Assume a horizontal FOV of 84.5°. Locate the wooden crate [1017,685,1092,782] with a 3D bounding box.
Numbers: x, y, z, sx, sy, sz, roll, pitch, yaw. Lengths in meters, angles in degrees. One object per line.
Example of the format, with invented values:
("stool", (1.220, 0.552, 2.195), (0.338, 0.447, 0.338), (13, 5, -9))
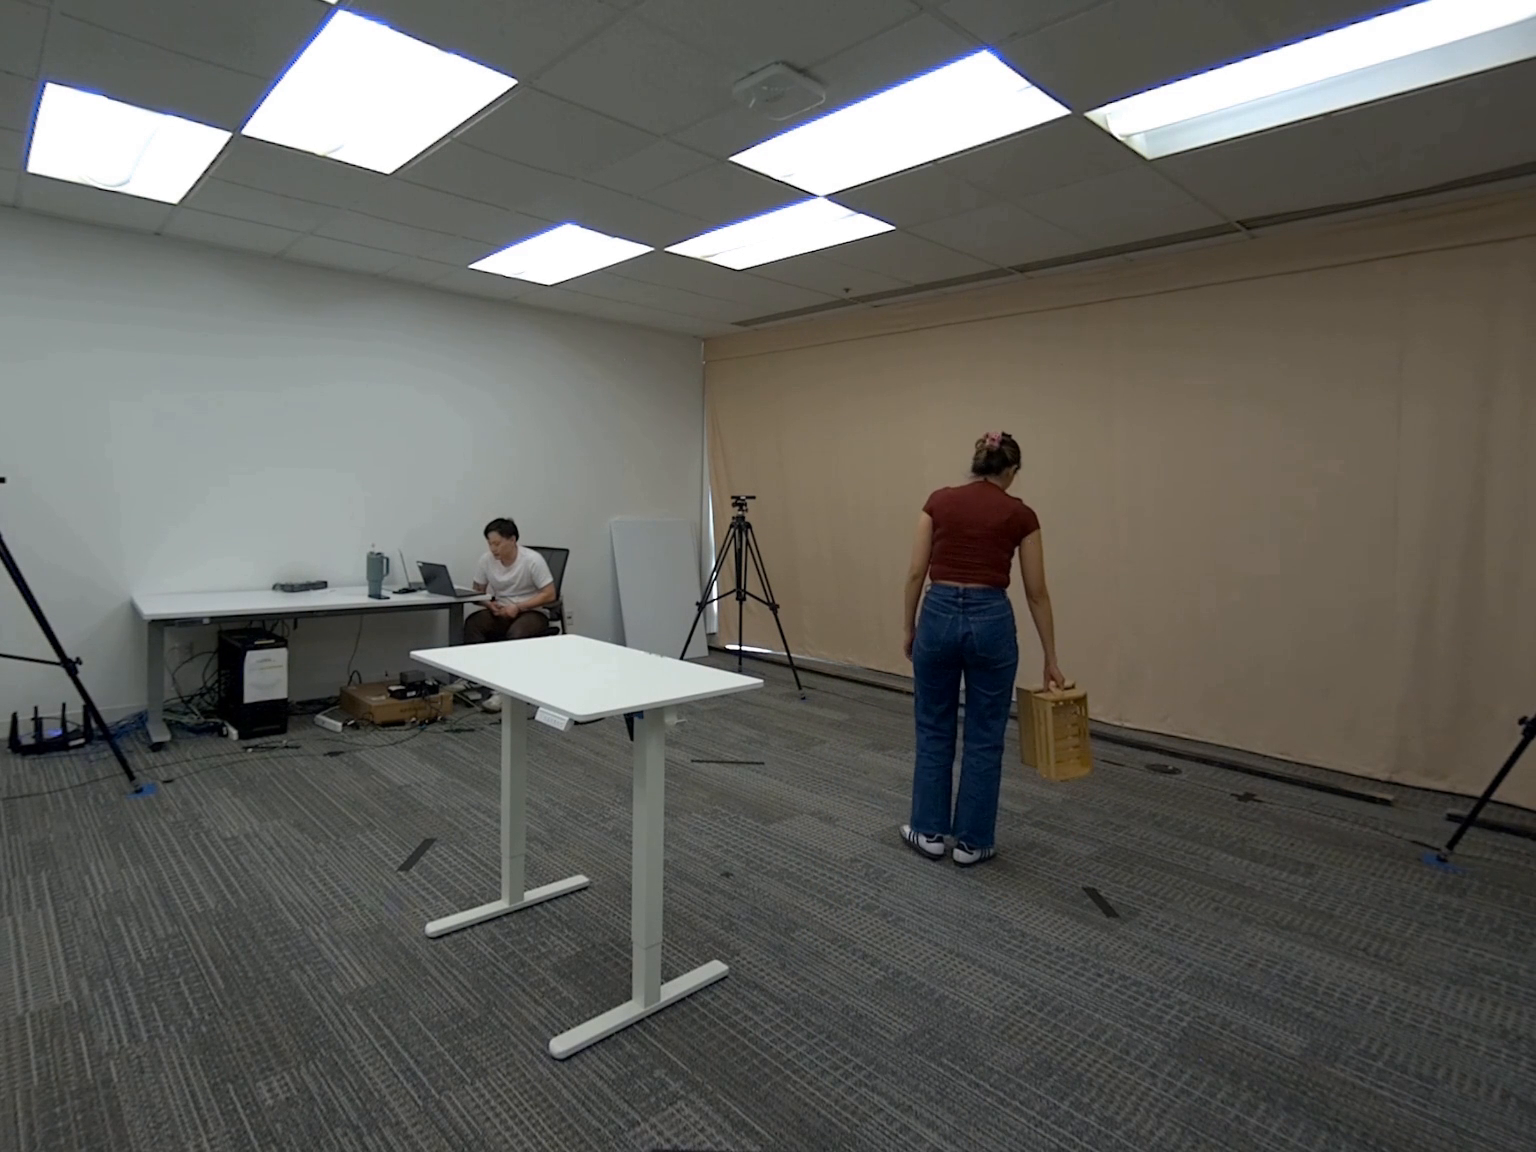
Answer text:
("wooden crate", (1.111, 0.584, 3.224), (0.298, 0.324, 0.277), (-5, 1, -18))
